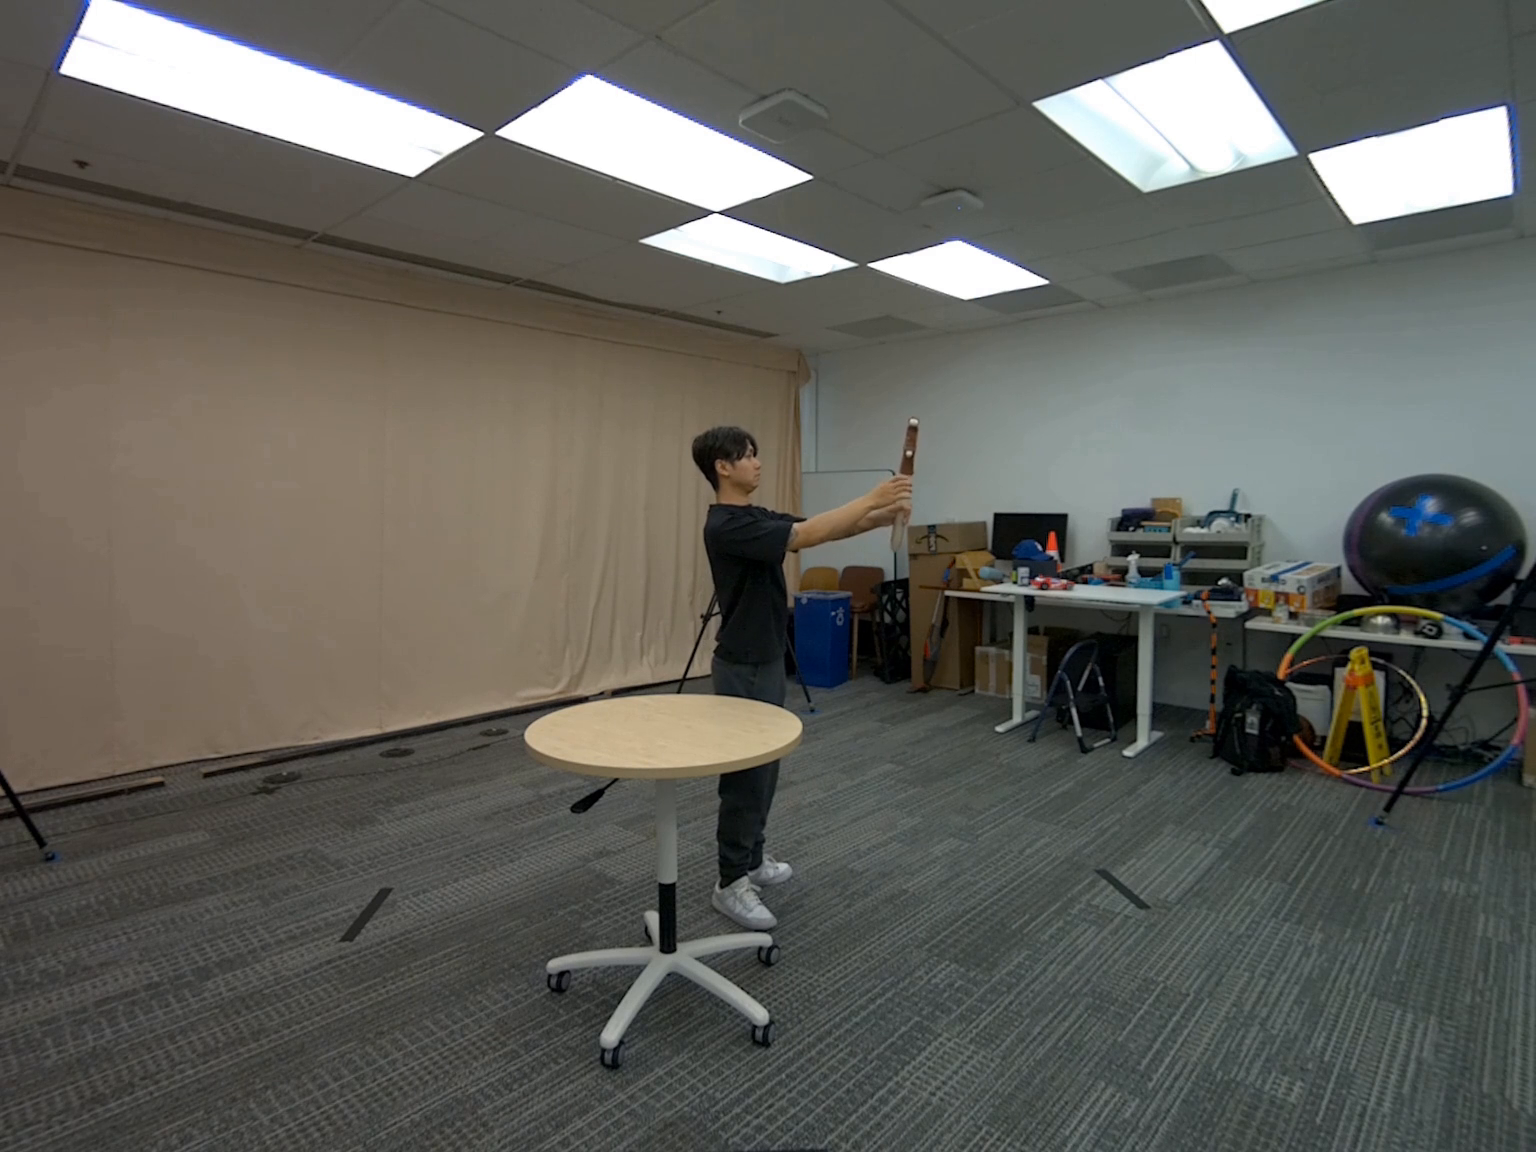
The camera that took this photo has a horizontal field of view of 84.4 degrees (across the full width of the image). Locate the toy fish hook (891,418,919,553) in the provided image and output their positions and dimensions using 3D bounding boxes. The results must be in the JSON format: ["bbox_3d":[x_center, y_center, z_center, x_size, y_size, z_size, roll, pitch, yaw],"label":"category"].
[{"bbox_3d":[0.465,-0.314,2.851,0.049,0.499,0.226,6,29,6],"label":"toy fish hook"}]
